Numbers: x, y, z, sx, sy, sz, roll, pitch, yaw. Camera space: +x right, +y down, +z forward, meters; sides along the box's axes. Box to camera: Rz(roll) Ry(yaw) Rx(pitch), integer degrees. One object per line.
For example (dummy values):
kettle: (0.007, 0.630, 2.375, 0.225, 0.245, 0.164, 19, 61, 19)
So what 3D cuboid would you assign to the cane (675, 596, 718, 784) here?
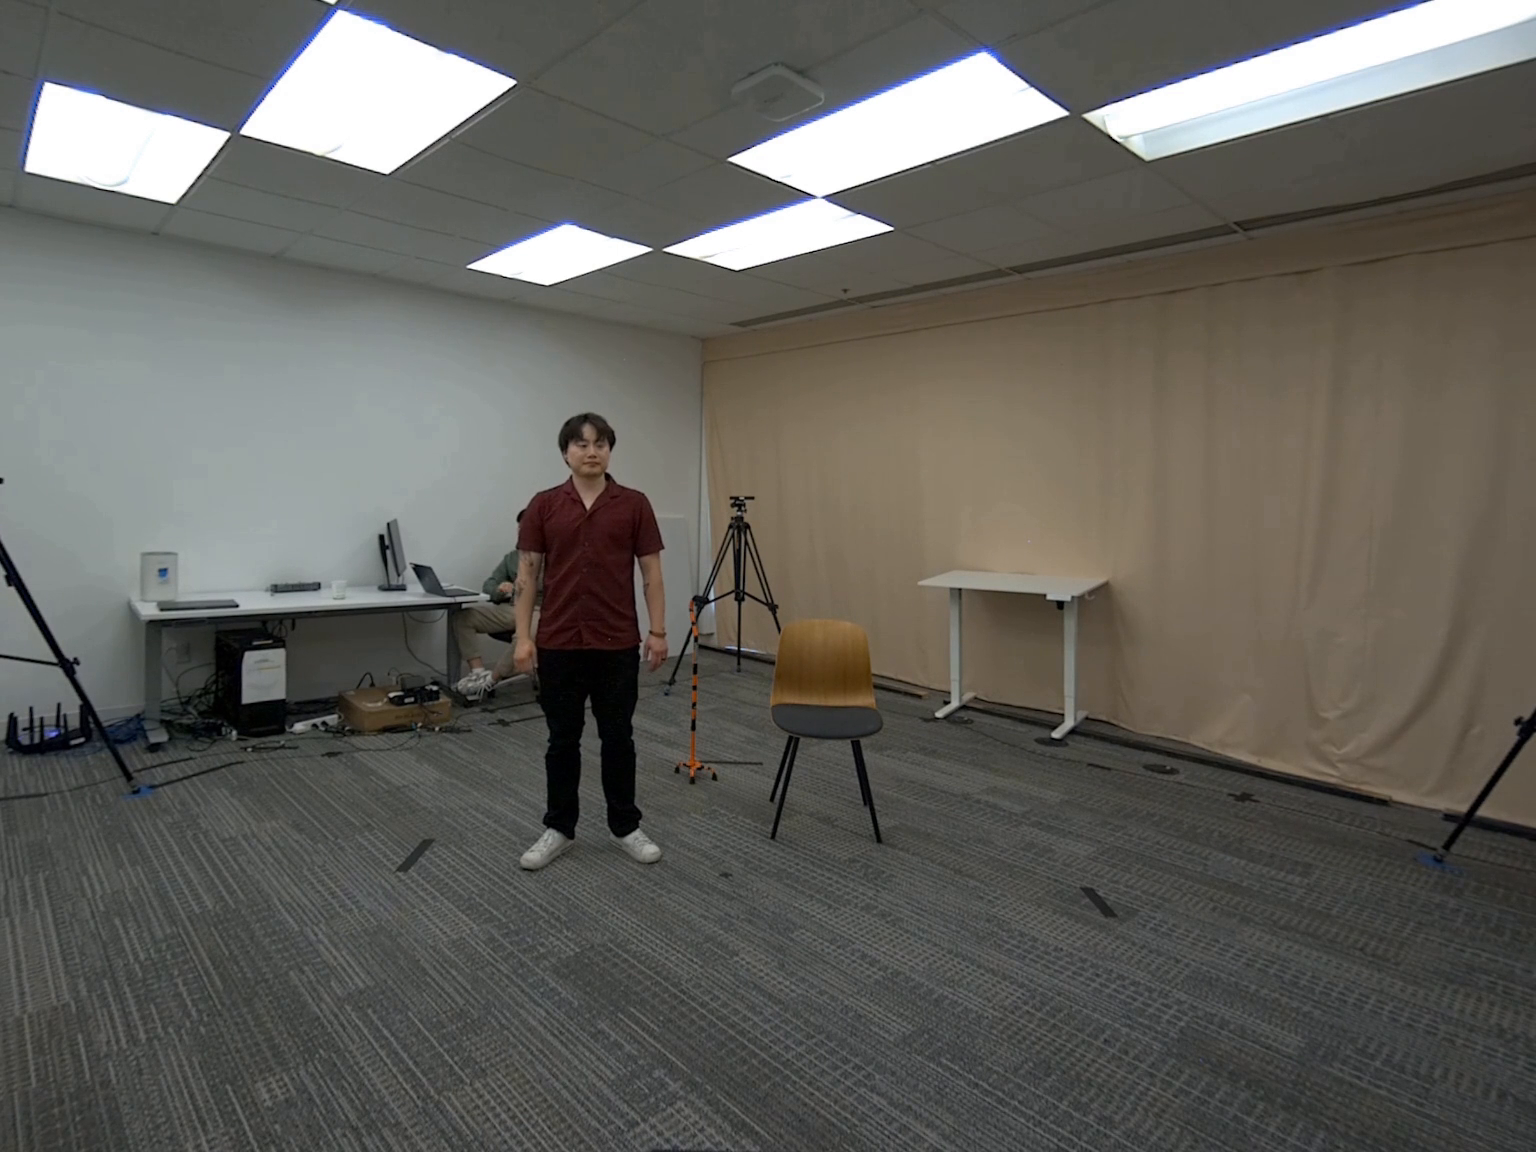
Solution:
cane: (-0.363, 0.553, 4.192, 0.148, 0.905, 0.211, -1, 4, -31)
